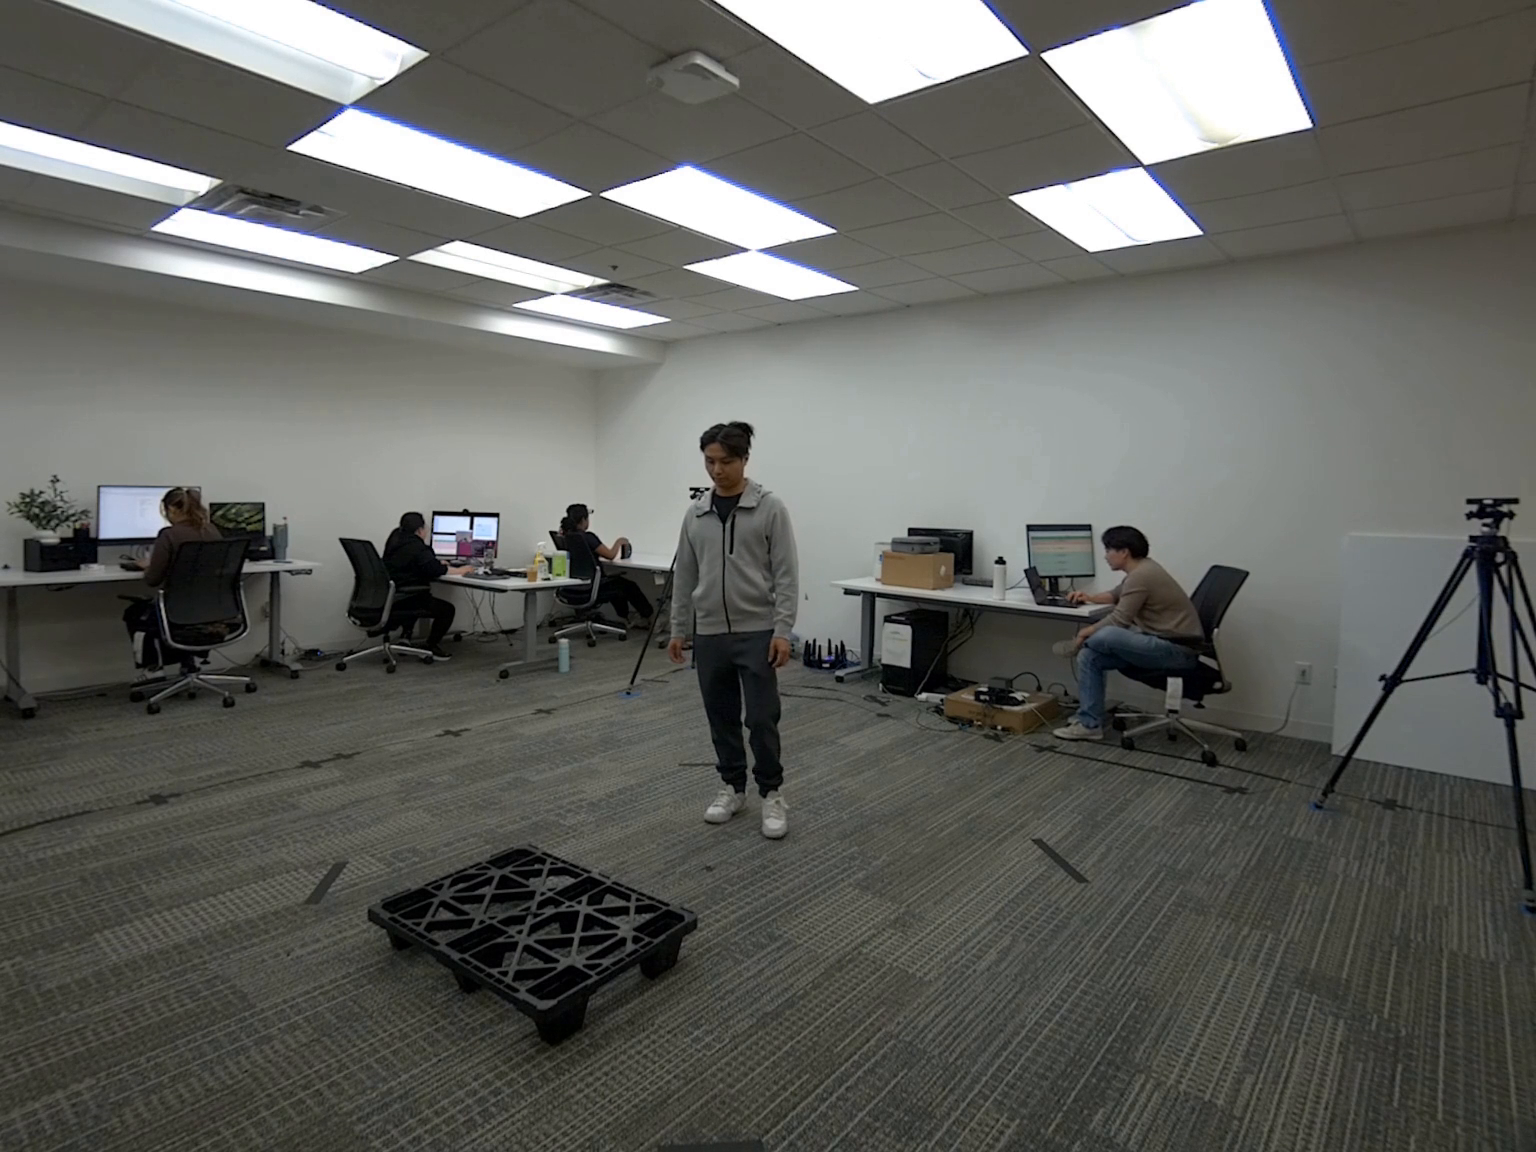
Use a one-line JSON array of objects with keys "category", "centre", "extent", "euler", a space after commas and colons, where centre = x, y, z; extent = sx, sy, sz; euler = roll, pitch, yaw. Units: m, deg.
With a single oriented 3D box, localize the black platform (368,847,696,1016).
[{"category": "black platform", "centre": [-0.706, 1.049, 2.521], "extent": [0.832, 0.143, 0.588], "euler": [5, 7, 36]}]
